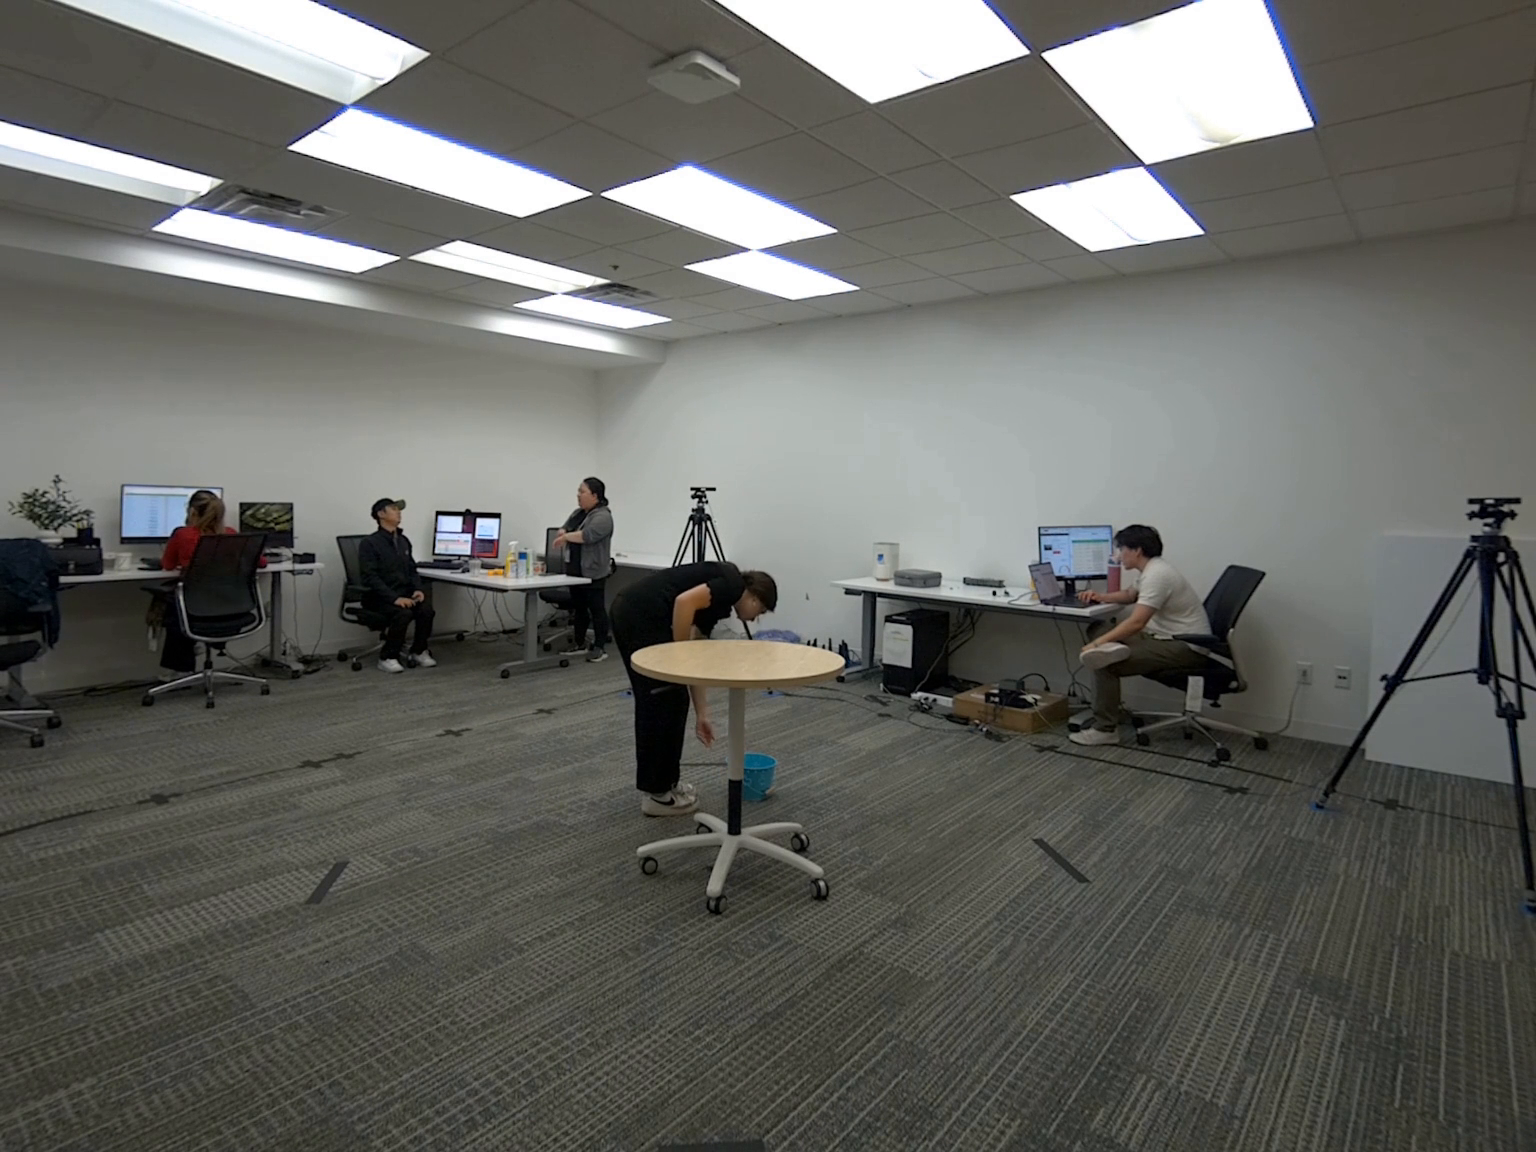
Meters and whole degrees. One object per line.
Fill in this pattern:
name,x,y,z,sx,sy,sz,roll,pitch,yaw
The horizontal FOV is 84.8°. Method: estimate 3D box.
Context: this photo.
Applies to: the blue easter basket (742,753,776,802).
blue easter basket,-0.097,0.918,3.889,0.243,0.155,0.245,1,6,-2
